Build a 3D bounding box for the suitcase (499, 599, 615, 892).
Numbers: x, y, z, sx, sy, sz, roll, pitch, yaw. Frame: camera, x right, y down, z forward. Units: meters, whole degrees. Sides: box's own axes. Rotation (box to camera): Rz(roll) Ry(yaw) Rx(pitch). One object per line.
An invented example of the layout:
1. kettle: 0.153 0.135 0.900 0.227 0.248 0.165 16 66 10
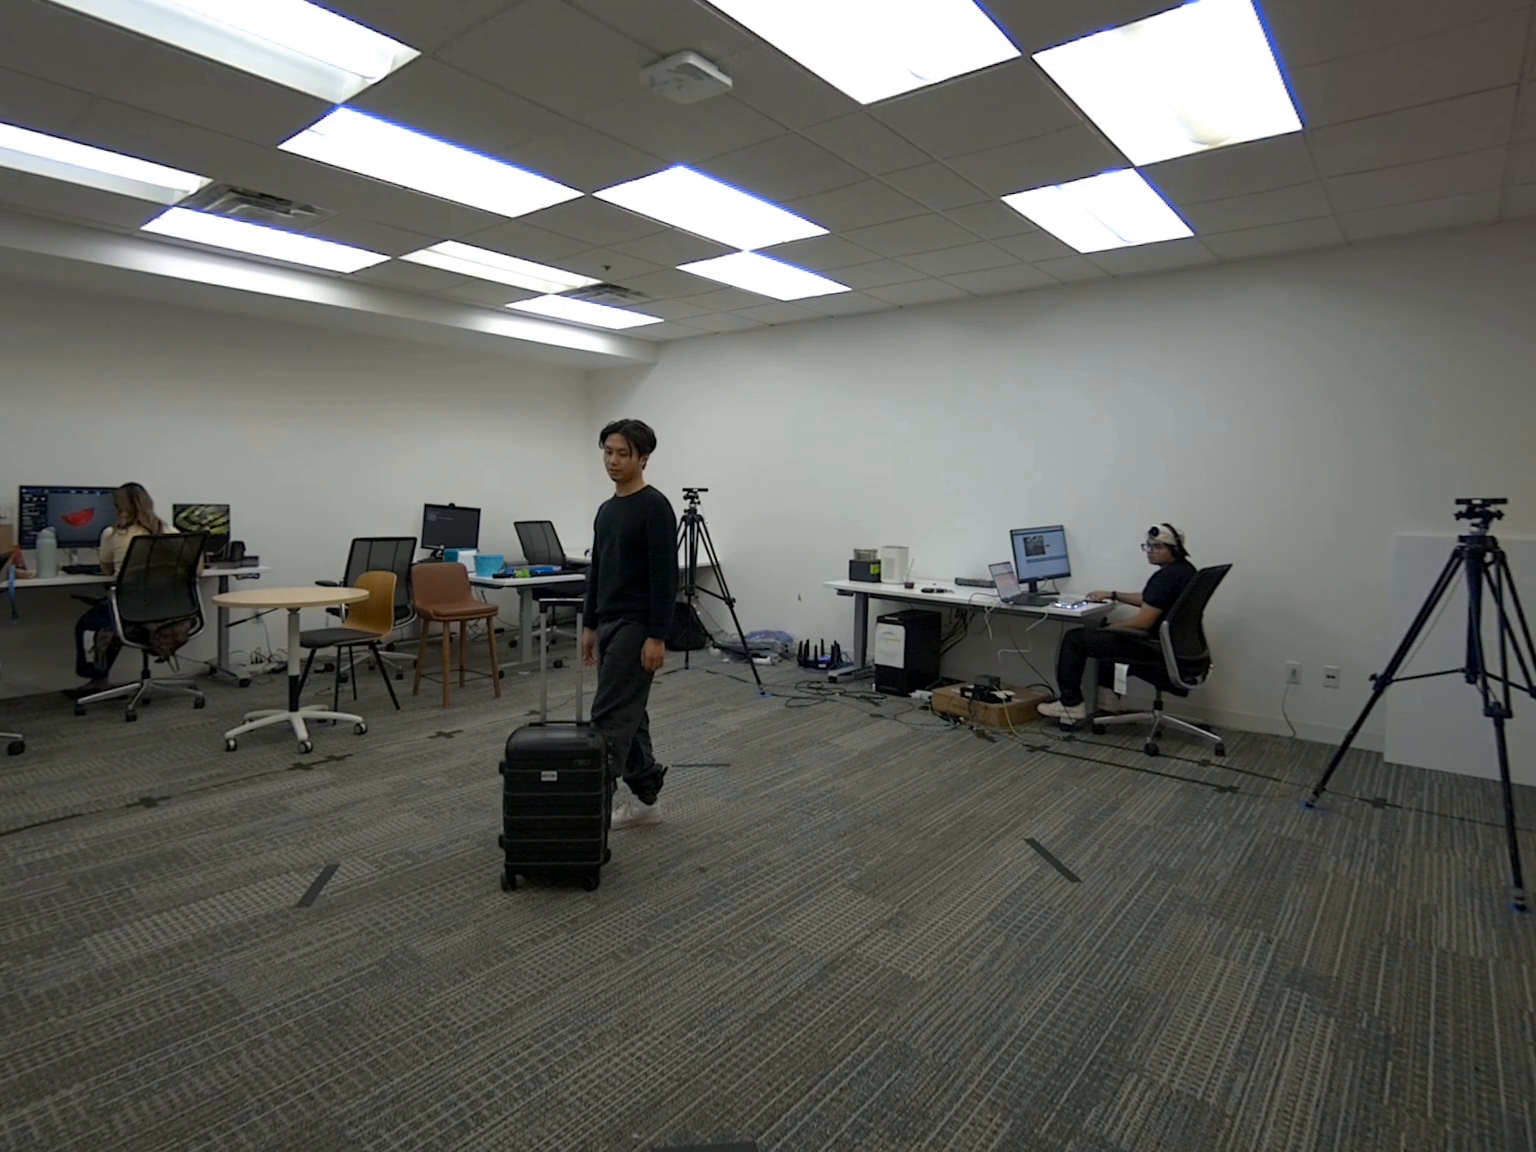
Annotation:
1. suitcase: -0.754 0.594 2.998 0.382 0.974 0.260 1 4 -6
